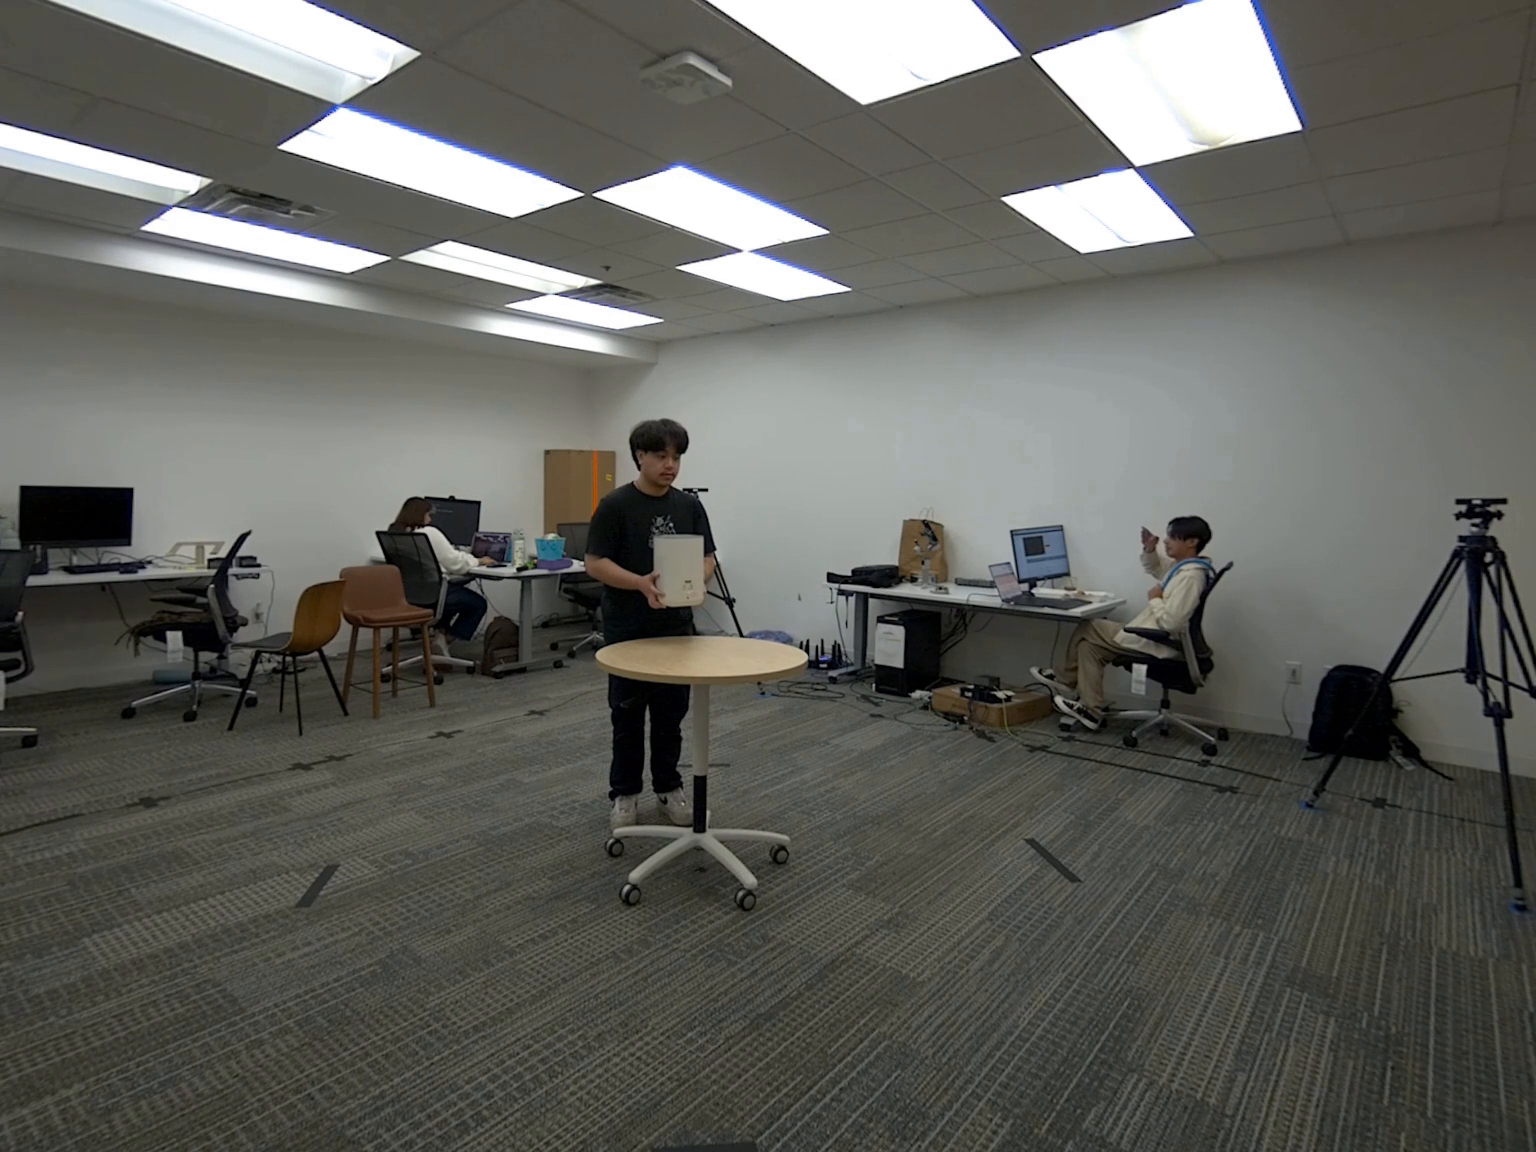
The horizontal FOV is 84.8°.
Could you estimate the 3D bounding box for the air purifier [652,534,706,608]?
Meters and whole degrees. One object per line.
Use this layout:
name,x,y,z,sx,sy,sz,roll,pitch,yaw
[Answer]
air purifier,-0.350,-0.027,3.286,0.167,0.265,0.176,-3,4,-29
